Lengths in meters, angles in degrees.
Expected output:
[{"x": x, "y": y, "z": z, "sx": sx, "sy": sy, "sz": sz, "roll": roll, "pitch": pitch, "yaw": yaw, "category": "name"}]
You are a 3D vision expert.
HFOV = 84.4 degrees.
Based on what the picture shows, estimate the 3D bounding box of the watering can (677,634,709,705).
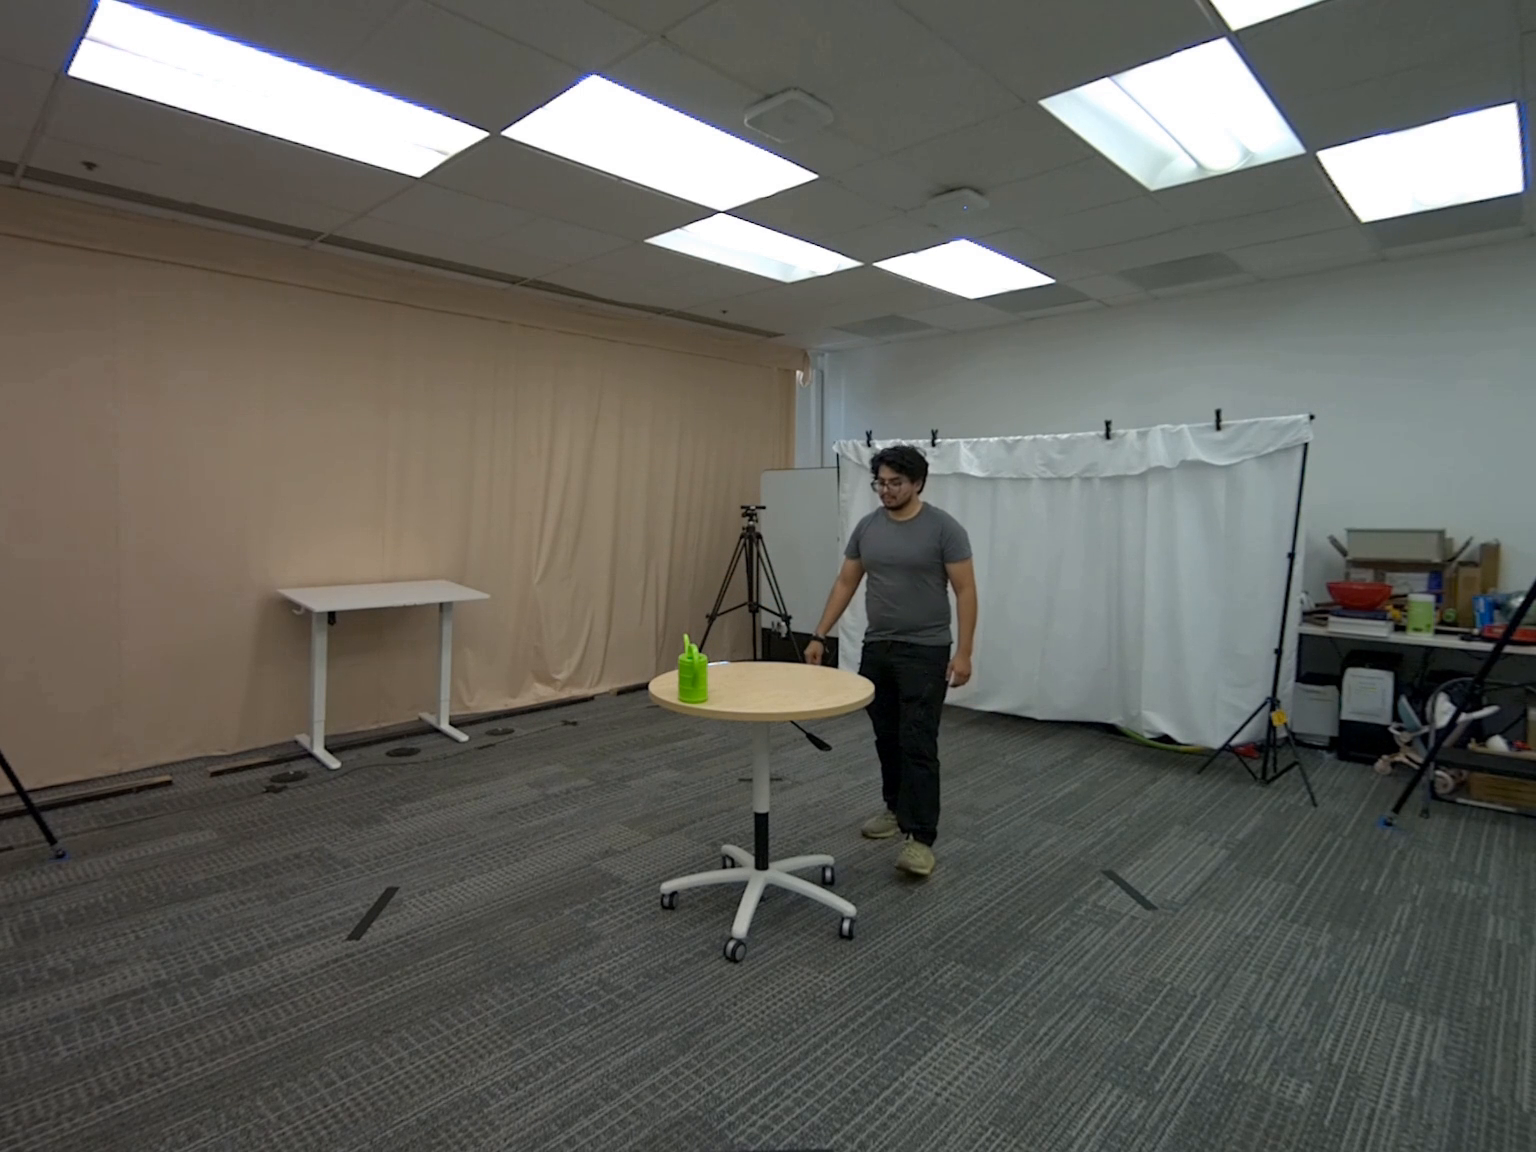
[{"x": -0.229, "y": 0.301, "z": 2.705, "sx": 0.098, "sy": 0.176, "sz": 0.278, "roll": -1, "pitch": 6, "yaw": 1, "category": "watering can"}]
